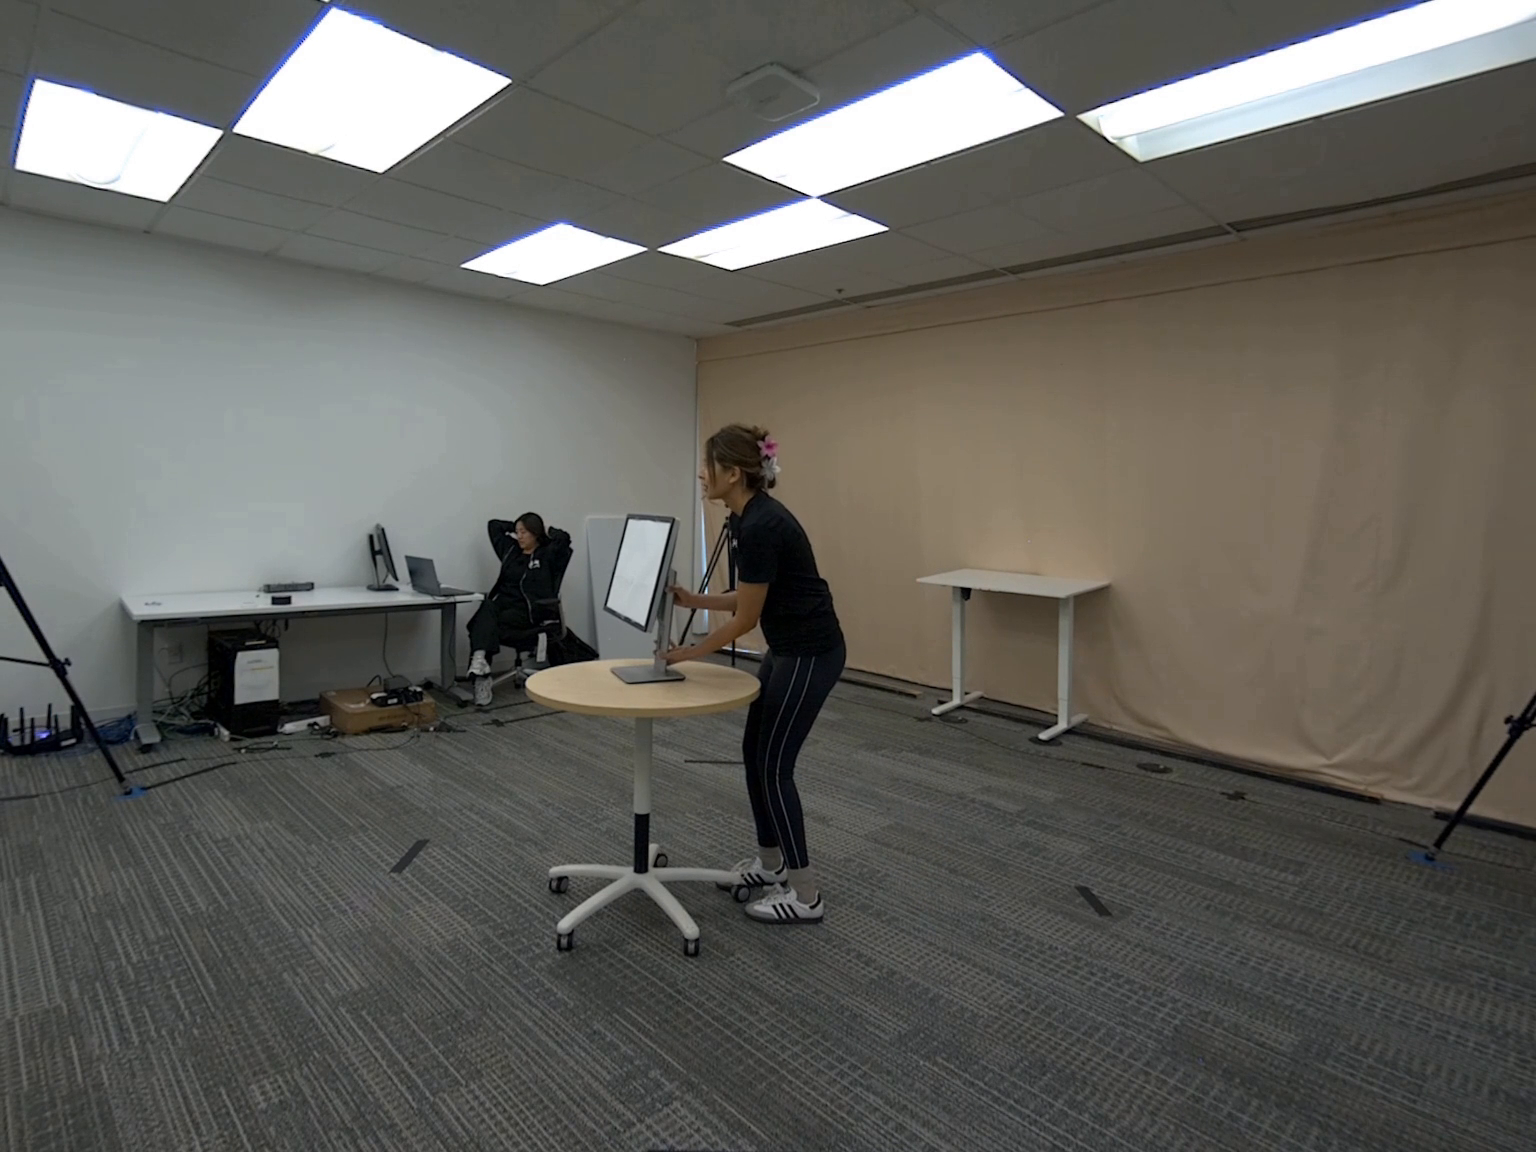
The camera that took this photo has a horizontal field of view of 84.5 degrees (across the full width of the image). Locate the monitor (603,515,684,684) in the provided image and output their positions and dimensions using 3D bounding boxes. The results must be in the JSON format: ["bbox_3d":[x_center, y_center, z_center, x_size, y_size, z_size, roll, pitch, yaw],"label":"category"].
[{"bbox_3d":[-0.415,0.070,2.834,0.183,0.522,0.550,1,3,-27],"label":"monitor"}]
